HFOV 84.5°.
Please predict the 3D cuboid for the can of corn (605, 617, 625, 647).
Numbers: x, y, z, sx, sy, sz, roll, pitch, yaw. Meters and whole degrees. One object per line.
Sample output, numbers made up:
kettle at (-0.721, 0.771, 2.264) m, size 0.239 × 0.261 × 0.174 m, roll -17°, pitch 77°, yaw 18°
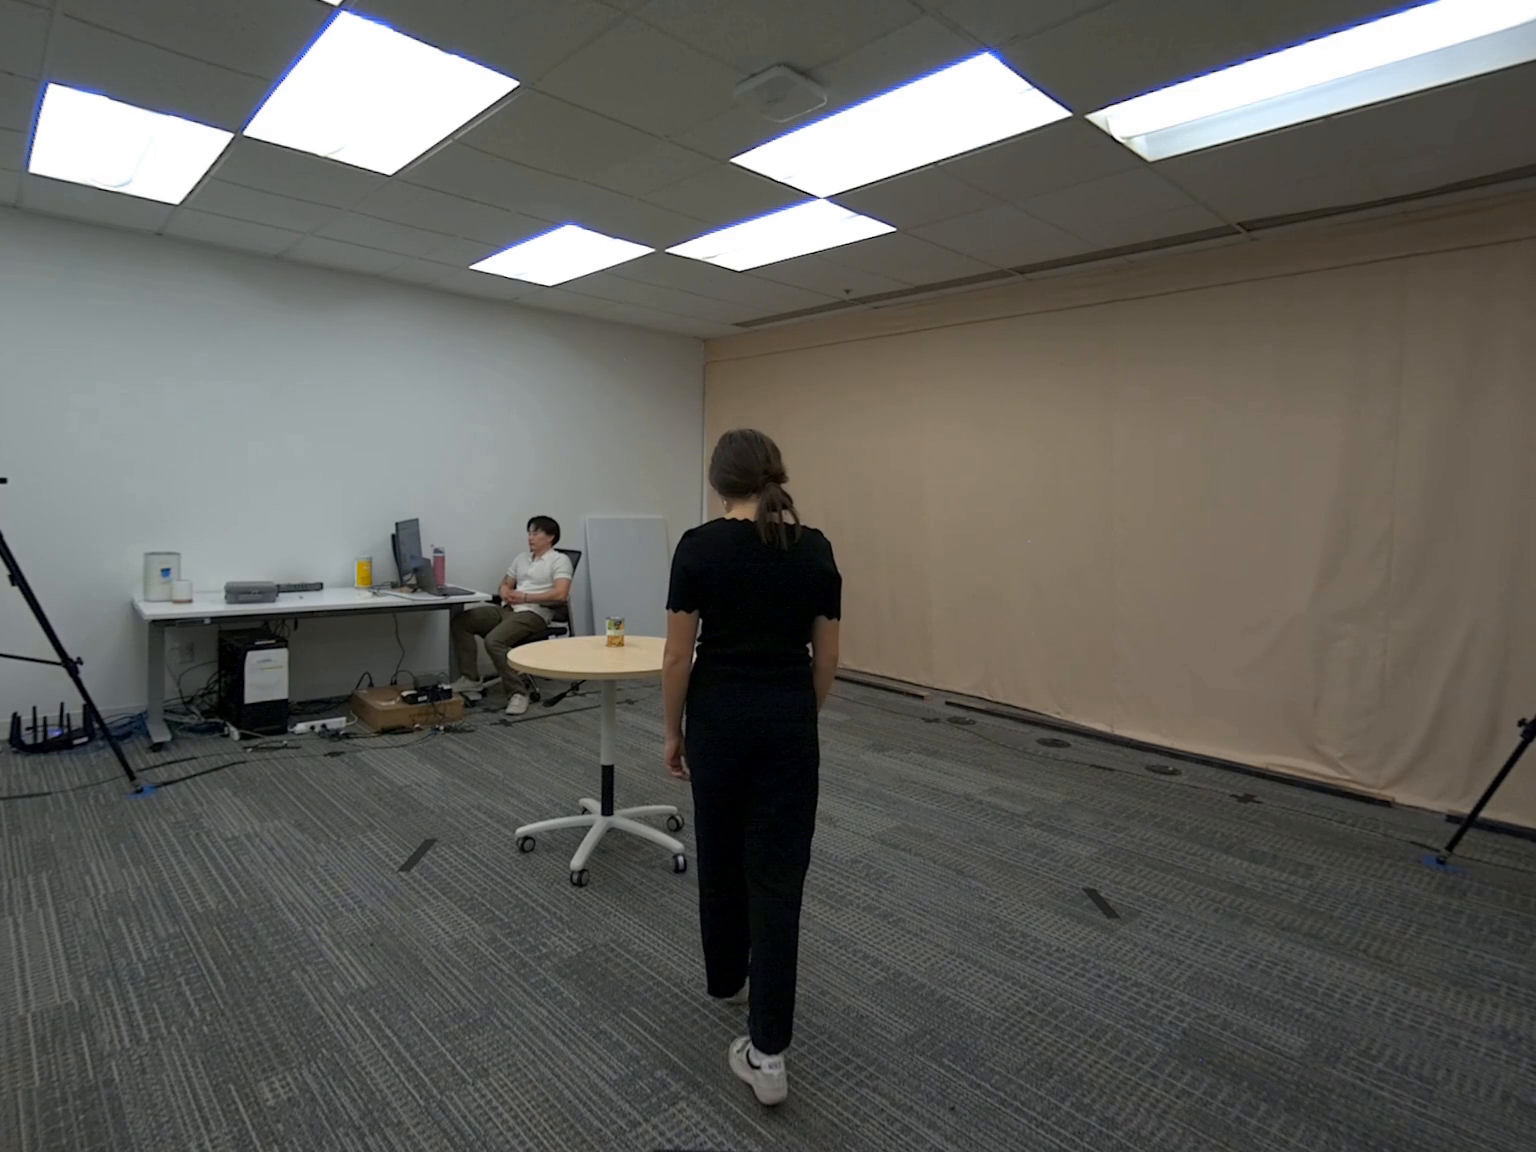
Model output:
can of corn at (-0.633, 0.229, 3.413) m, size 0.074 × 0.111 × 0.074 m, roll -1°, pitch 2°, yaw -1°
